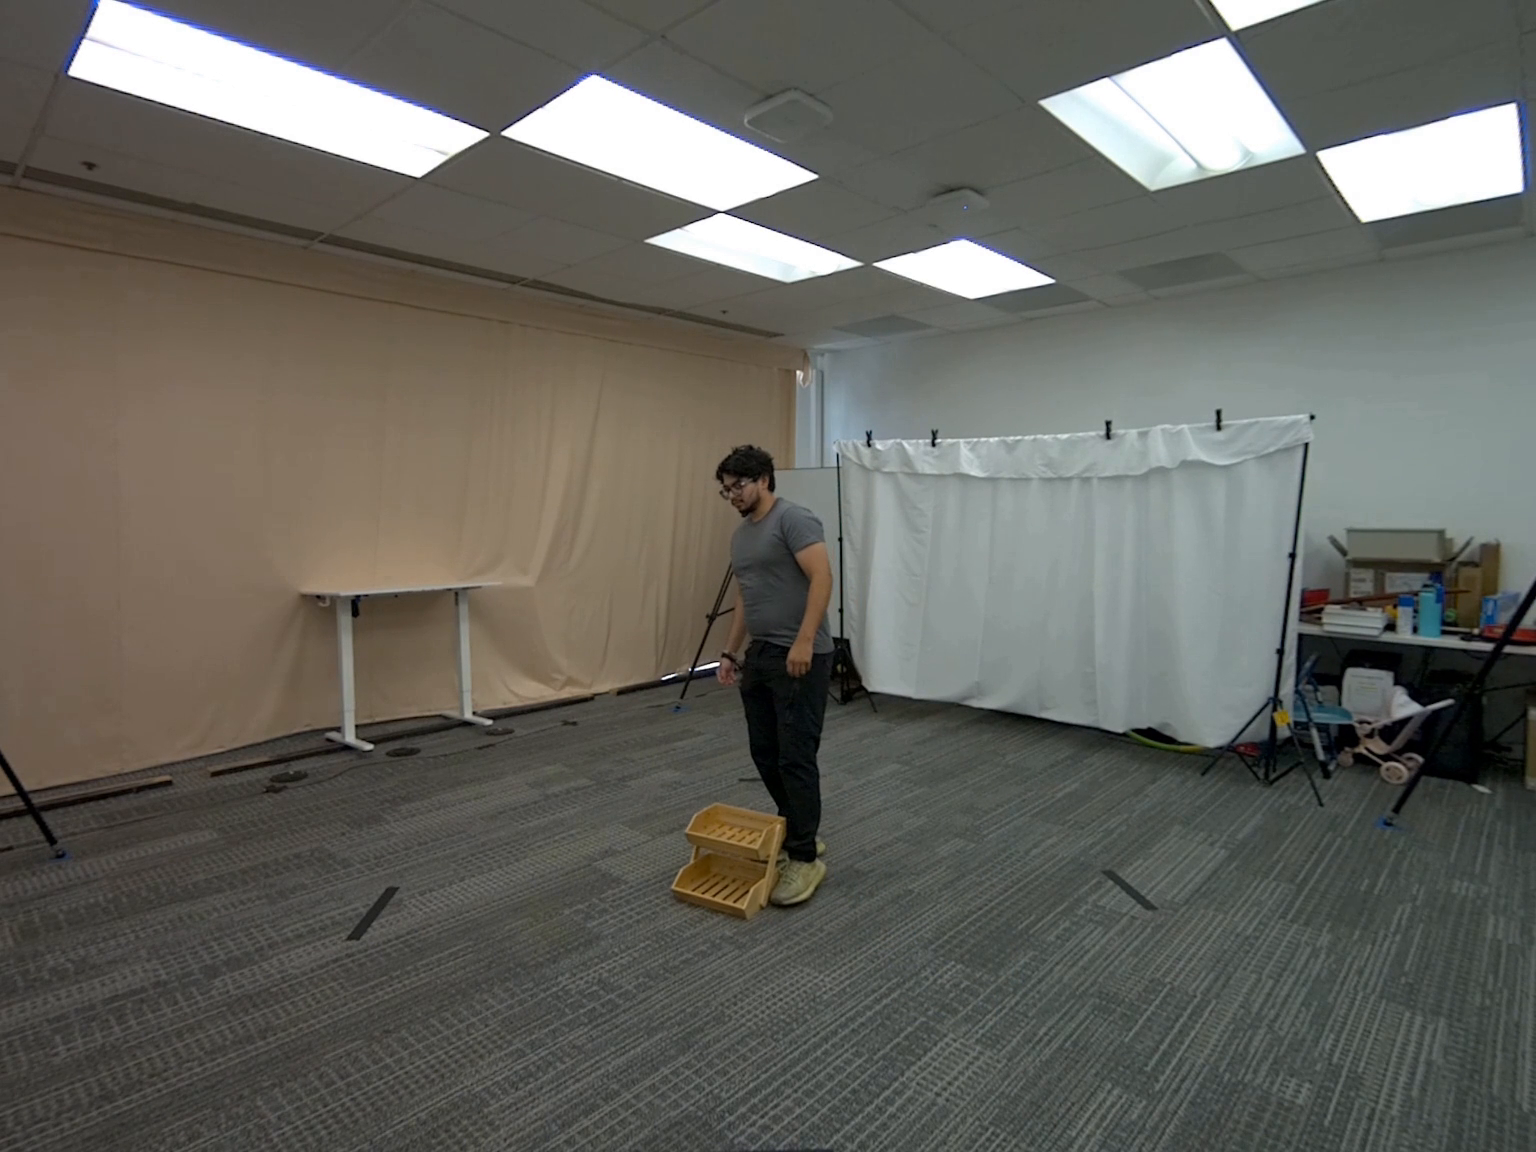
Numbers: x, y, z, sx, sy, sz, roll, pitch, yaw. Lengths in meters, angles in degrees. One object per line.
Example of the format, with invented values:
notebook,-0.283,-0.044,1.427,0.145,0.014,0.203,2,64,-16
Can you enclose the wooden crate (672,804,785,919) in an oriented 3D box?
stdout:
wooden crate,-0.139,1.010,3.010,0.334,0.273,0.294,2,4,30
